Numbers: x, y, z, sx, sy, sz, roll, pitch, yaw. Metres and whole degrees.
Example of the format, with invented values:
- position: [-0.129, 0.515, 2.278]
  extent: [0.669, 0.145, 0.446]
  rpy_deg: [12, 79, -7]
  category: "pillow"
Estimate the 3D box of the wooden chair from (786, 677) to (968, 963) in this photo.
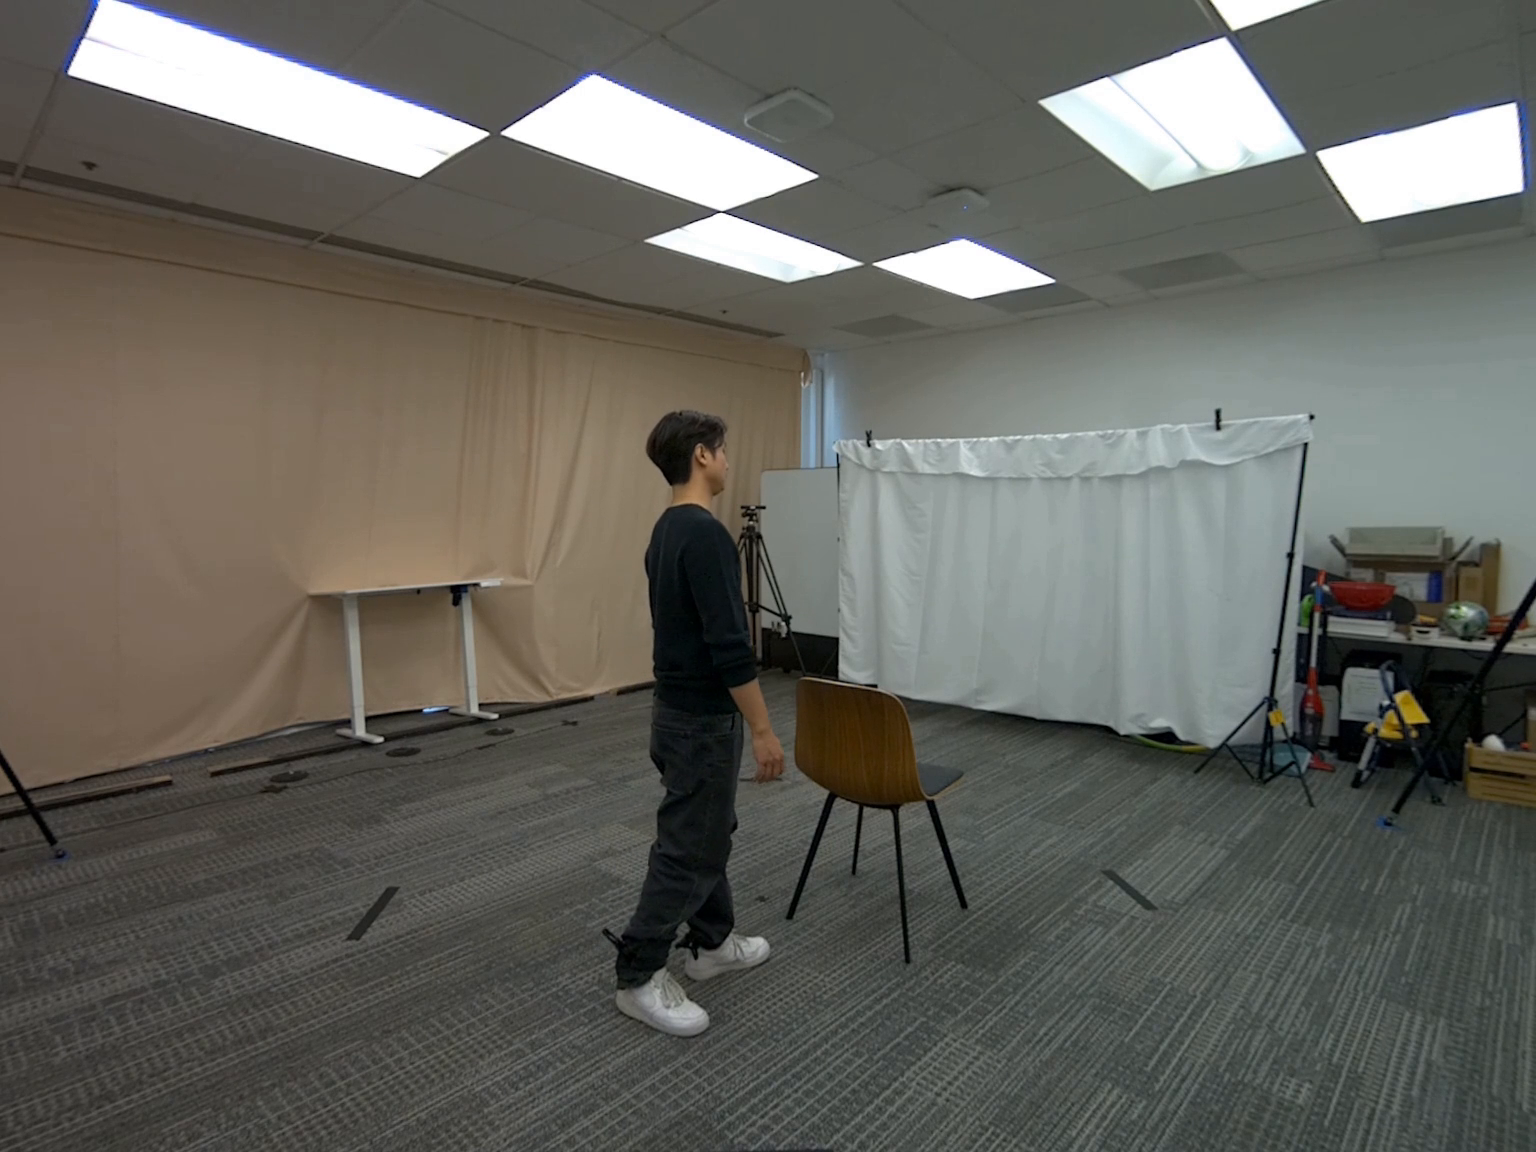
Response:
- position: [0.380, 0.725, 2.847]
  extent: [0.493, 0.873, 0.509]
  rpy_deg: [2, 8, 37]
  category: "wooden chair"
